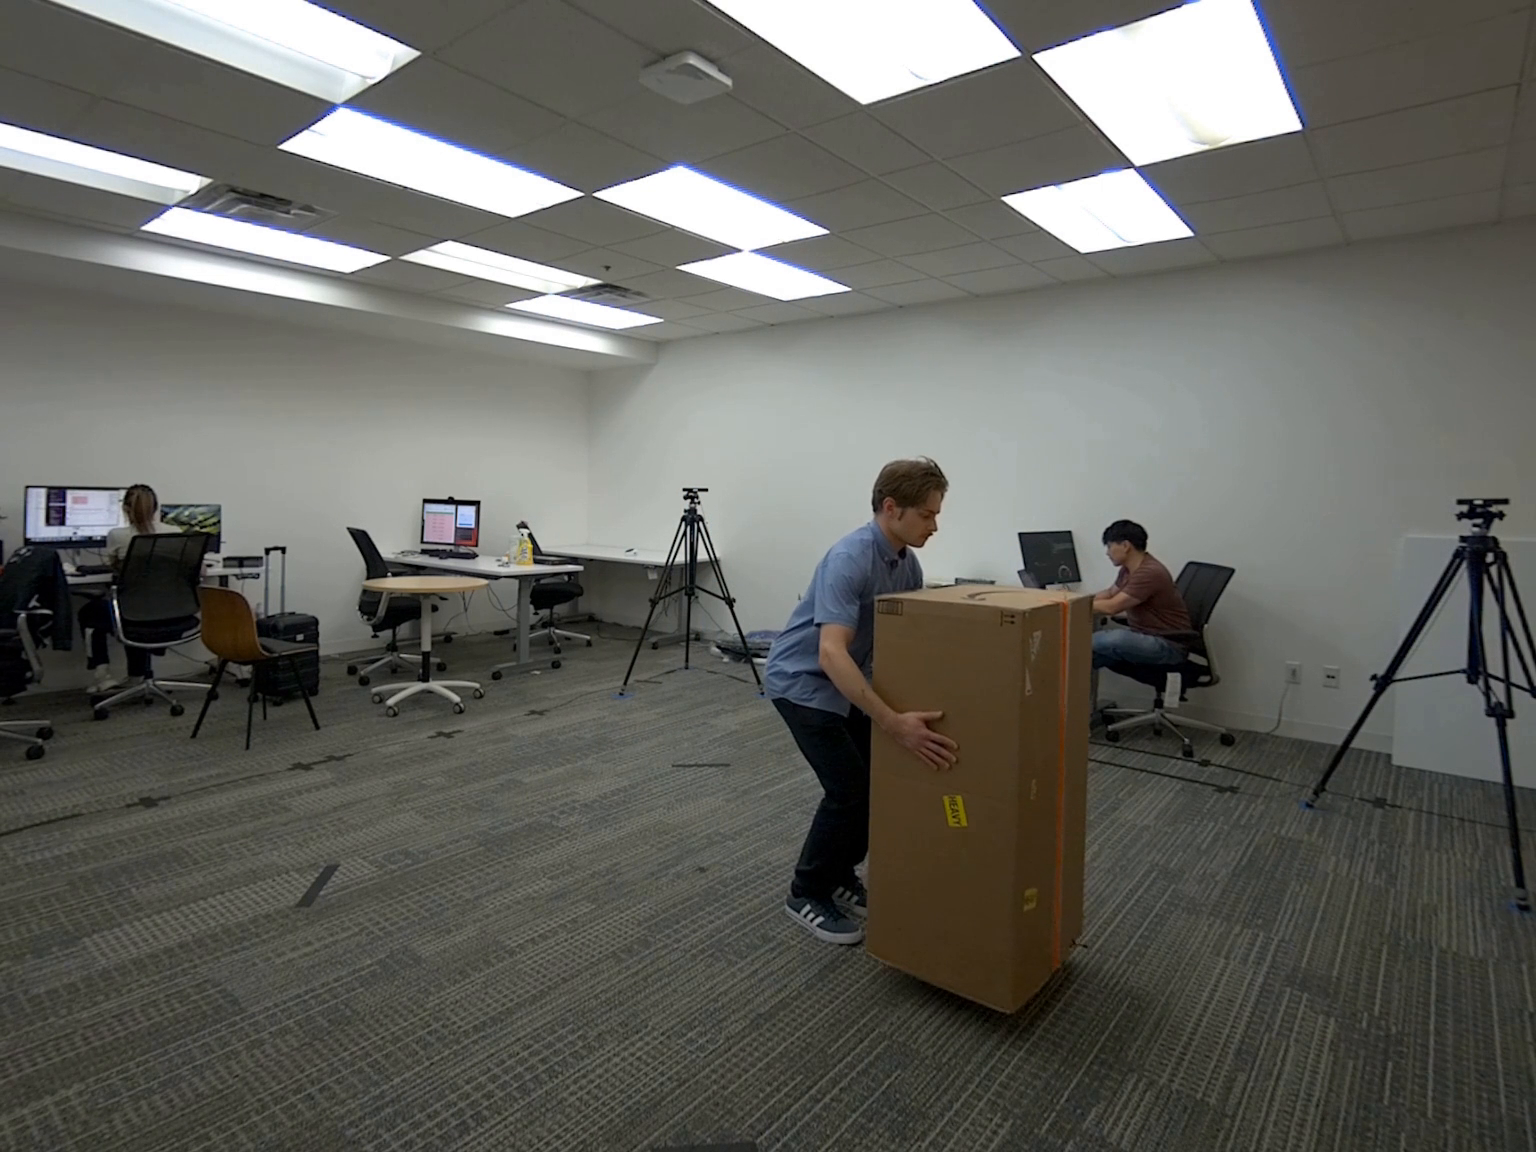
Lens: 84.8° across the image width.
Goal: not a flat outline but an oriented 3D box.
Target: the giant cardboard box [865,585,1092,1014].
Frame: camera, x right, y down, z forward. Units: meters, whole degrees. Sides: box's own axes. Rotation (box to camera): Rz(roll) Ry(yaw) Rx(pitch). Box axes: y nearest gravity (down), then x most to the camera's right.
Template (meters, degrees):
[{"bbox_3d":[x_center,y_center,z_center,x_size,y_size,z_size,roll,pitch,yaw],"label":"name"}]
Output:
[{"bbox_3d":[0.624,0.562,2.459,0.440,1.024,0.560,3,3,39],"label":"giant cardboard box"}]
